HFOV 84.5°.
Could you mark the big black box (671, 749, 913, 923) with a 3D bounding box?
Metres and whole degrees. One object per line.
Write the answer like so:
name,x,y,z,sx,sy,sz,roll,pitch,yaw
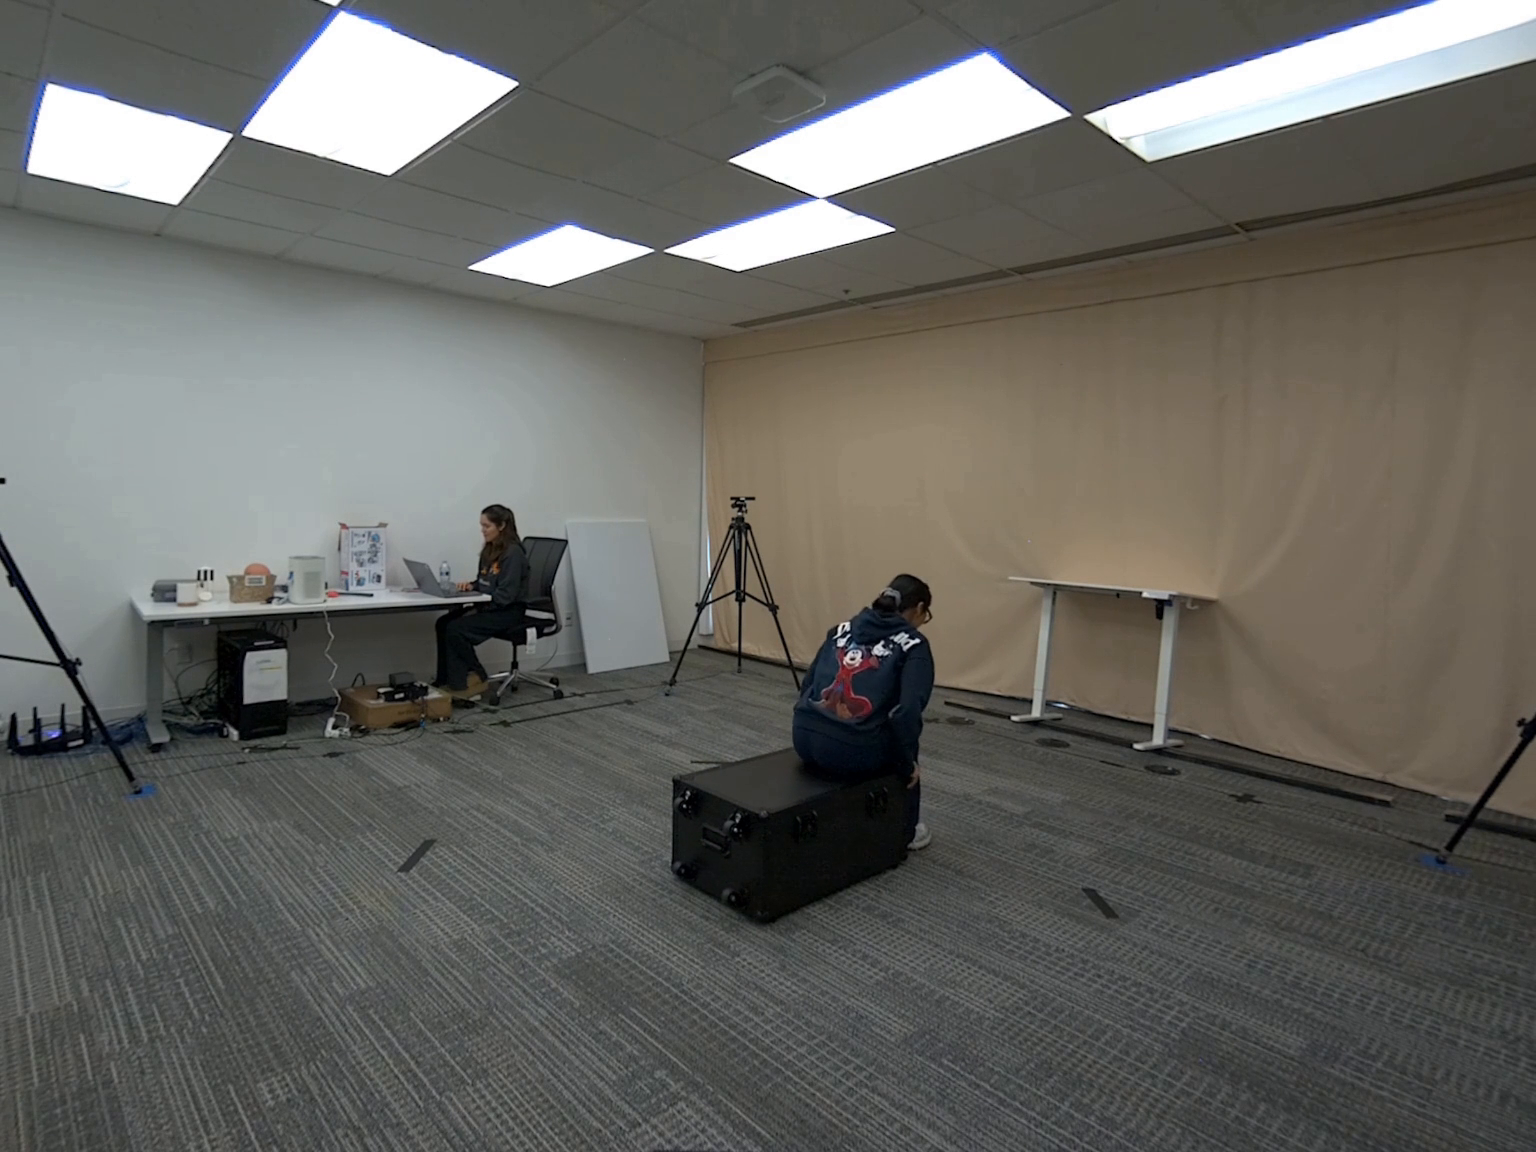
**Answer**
big black box,0.063,0.921,3.123,0.841,0.395,0.534,-2,5,-44
